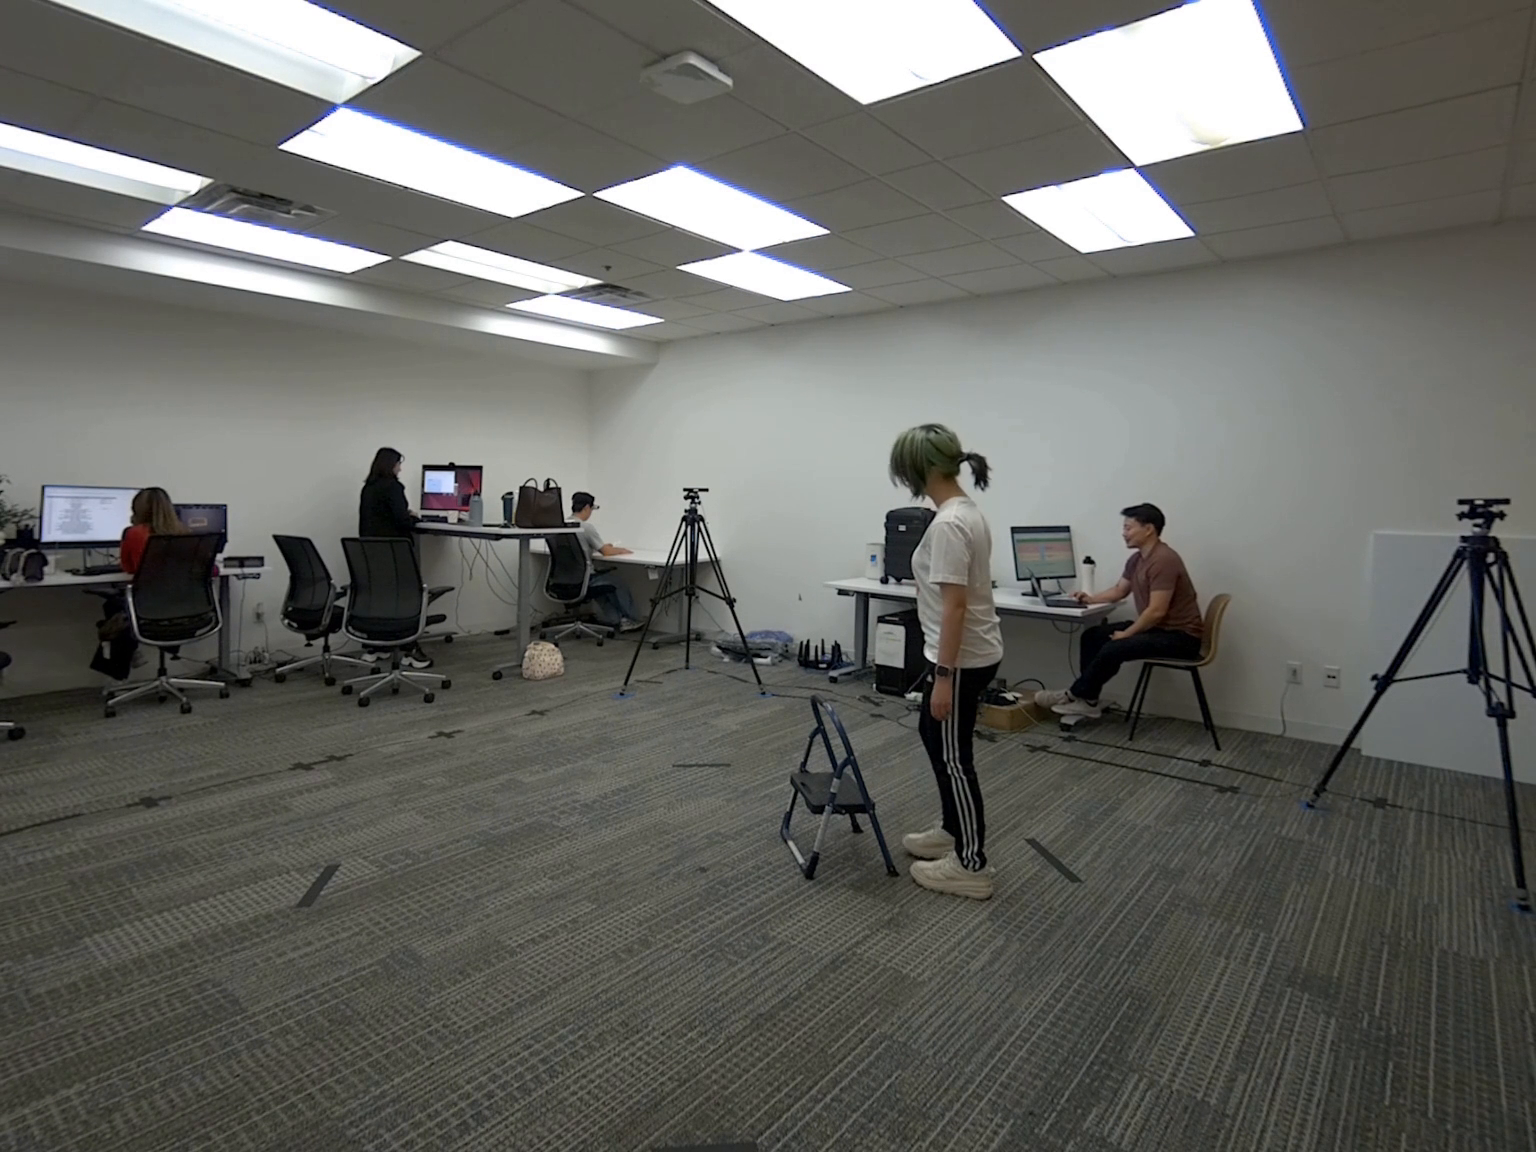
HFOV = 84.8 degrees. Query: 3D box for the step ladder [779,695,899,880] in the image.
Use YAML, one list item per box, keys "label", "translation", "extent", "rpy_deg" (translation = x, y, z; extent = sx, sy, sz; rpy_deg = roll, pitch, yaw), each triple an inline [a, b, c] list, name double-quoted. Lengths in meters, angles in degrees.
- label: "step ladder"
  translation: [0.259, 0.766, 3.257]
  extent: [0.345, 0.604, 0.437]
  rpy_deg: [1, 4, -12]
